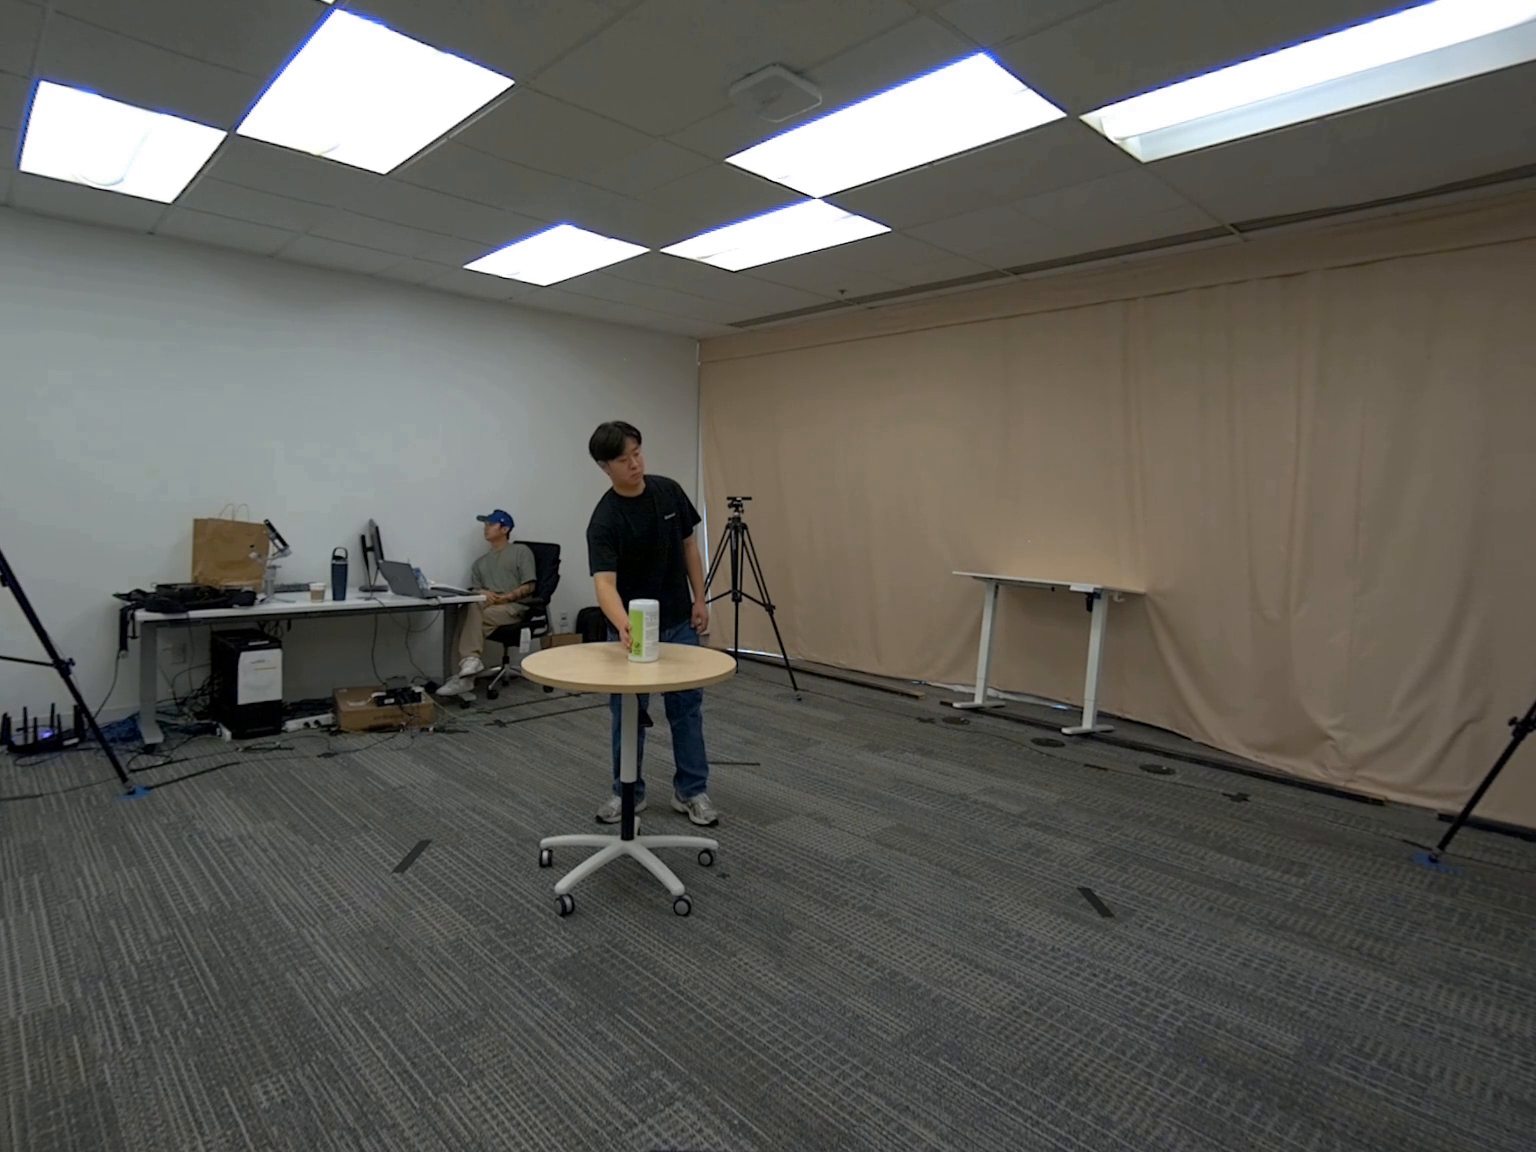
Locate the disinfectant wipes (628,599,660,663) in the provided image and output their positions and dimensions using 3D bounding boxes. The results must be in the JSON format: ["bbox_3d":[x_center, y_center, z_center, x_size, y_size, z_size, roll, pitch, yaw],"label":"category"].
[{"bbox_3d":[-0.457,0.196,3.053,0.118,0.217,0.118,-1,5,-1],"label":"disinfectant wipes"}]
